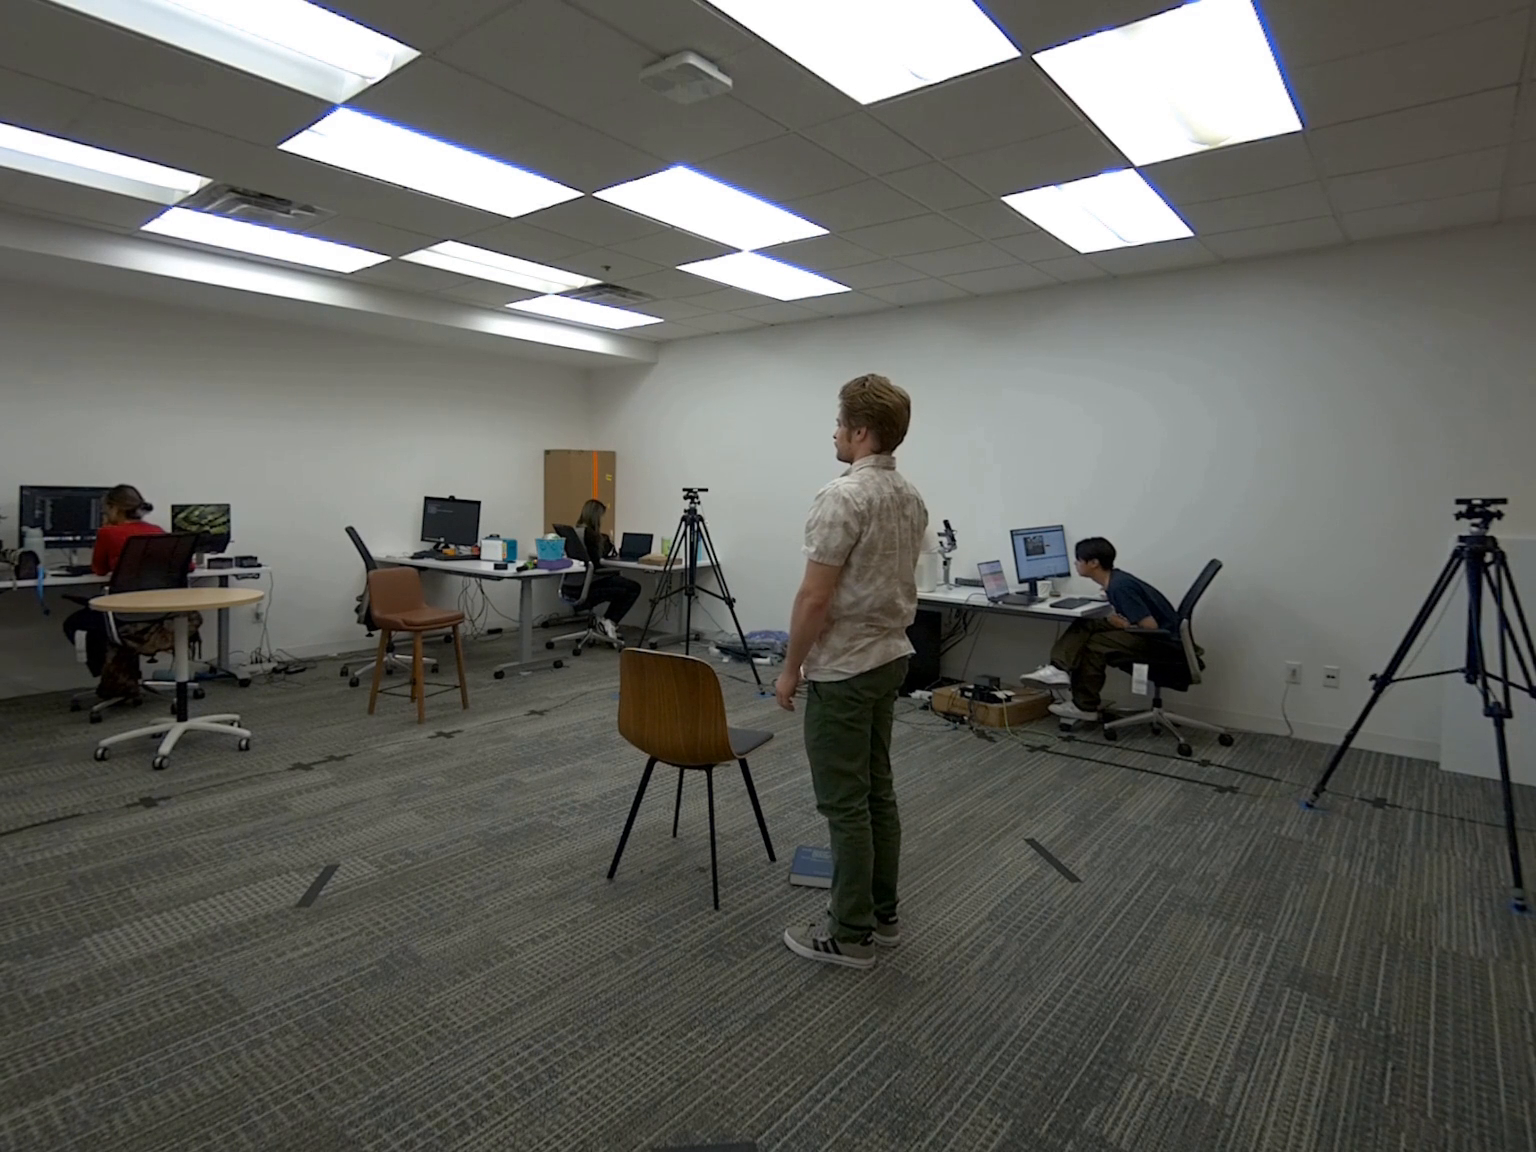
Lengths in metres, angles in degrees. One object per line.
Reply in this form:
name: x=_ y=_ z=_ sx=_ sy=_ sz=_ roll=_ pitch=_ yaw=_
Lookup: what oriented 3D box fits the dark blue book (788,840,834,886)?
dark blue book: x=0.170 y=1.051 z=3.097 sx=0.165 sy=0.045 sz=0.243 roll=3 pitch=5 yaw=10
